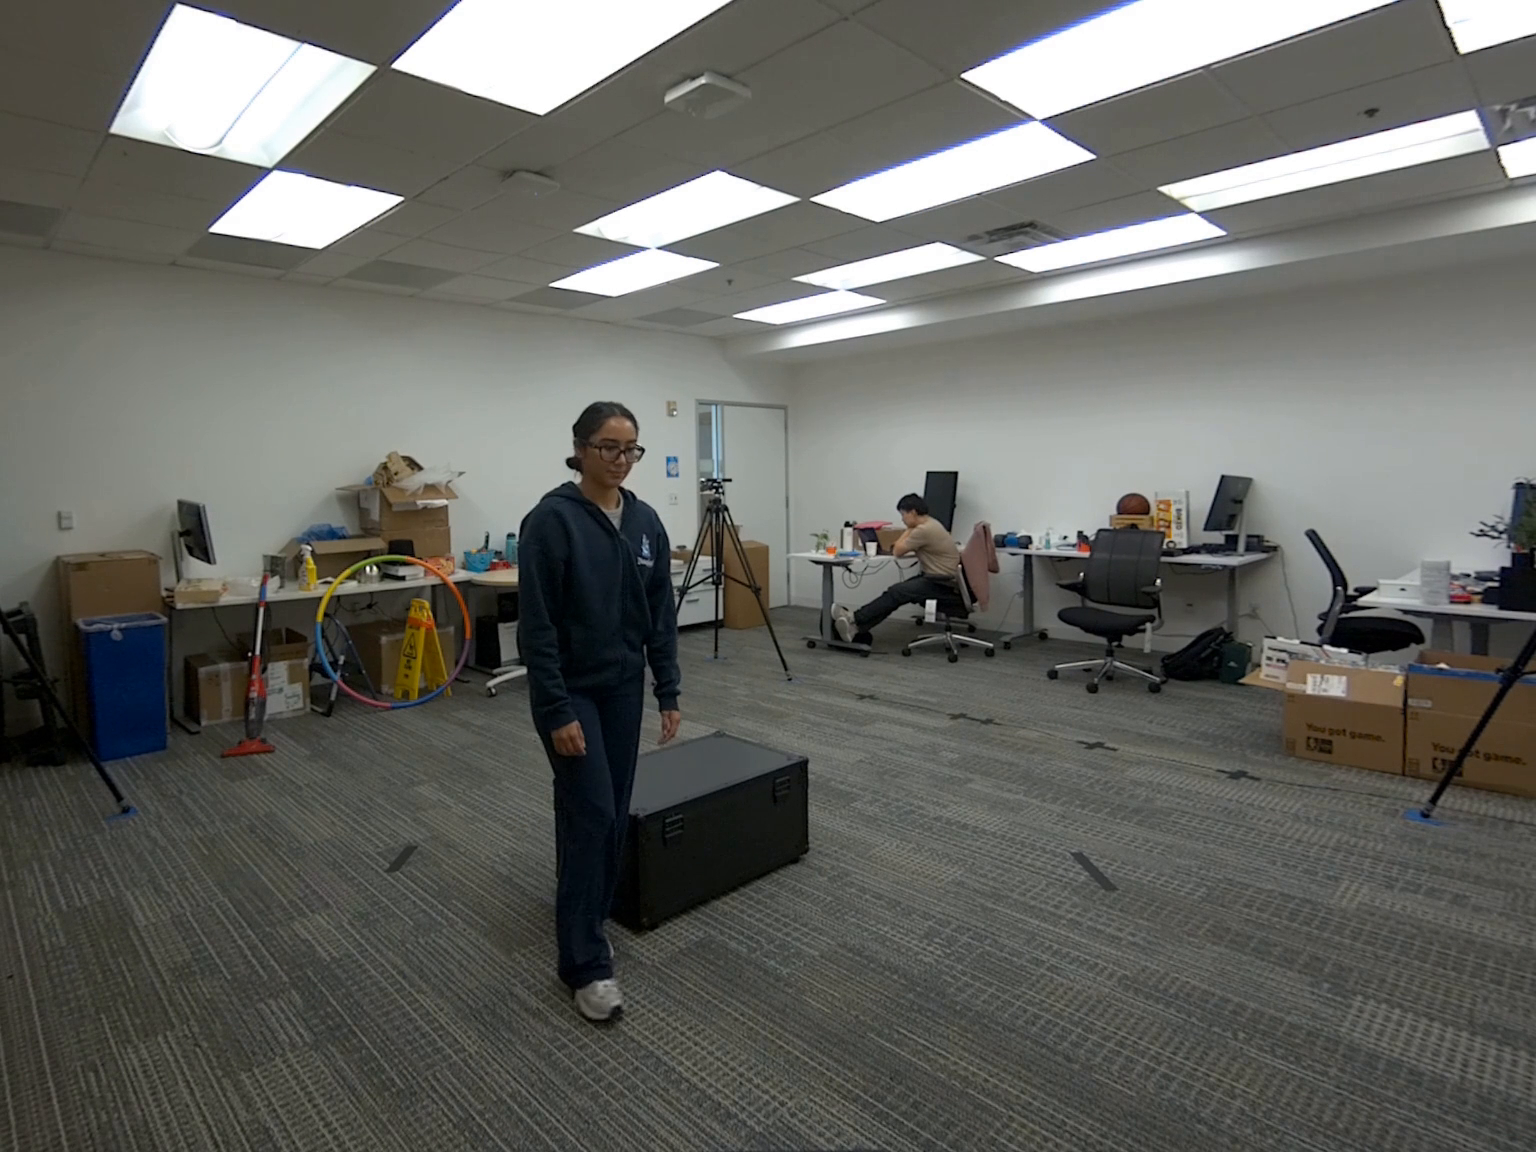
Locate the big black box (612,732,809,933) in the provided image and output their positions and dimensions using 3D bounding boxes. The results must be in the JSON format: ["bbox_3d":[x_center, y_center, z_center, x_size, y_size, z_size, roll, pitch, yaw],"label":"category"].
[{"bbox_3d":[-0.267,0.862,3.060,0.840,0.394,0.537,-8,9,-44],"label":"big black box"}]
